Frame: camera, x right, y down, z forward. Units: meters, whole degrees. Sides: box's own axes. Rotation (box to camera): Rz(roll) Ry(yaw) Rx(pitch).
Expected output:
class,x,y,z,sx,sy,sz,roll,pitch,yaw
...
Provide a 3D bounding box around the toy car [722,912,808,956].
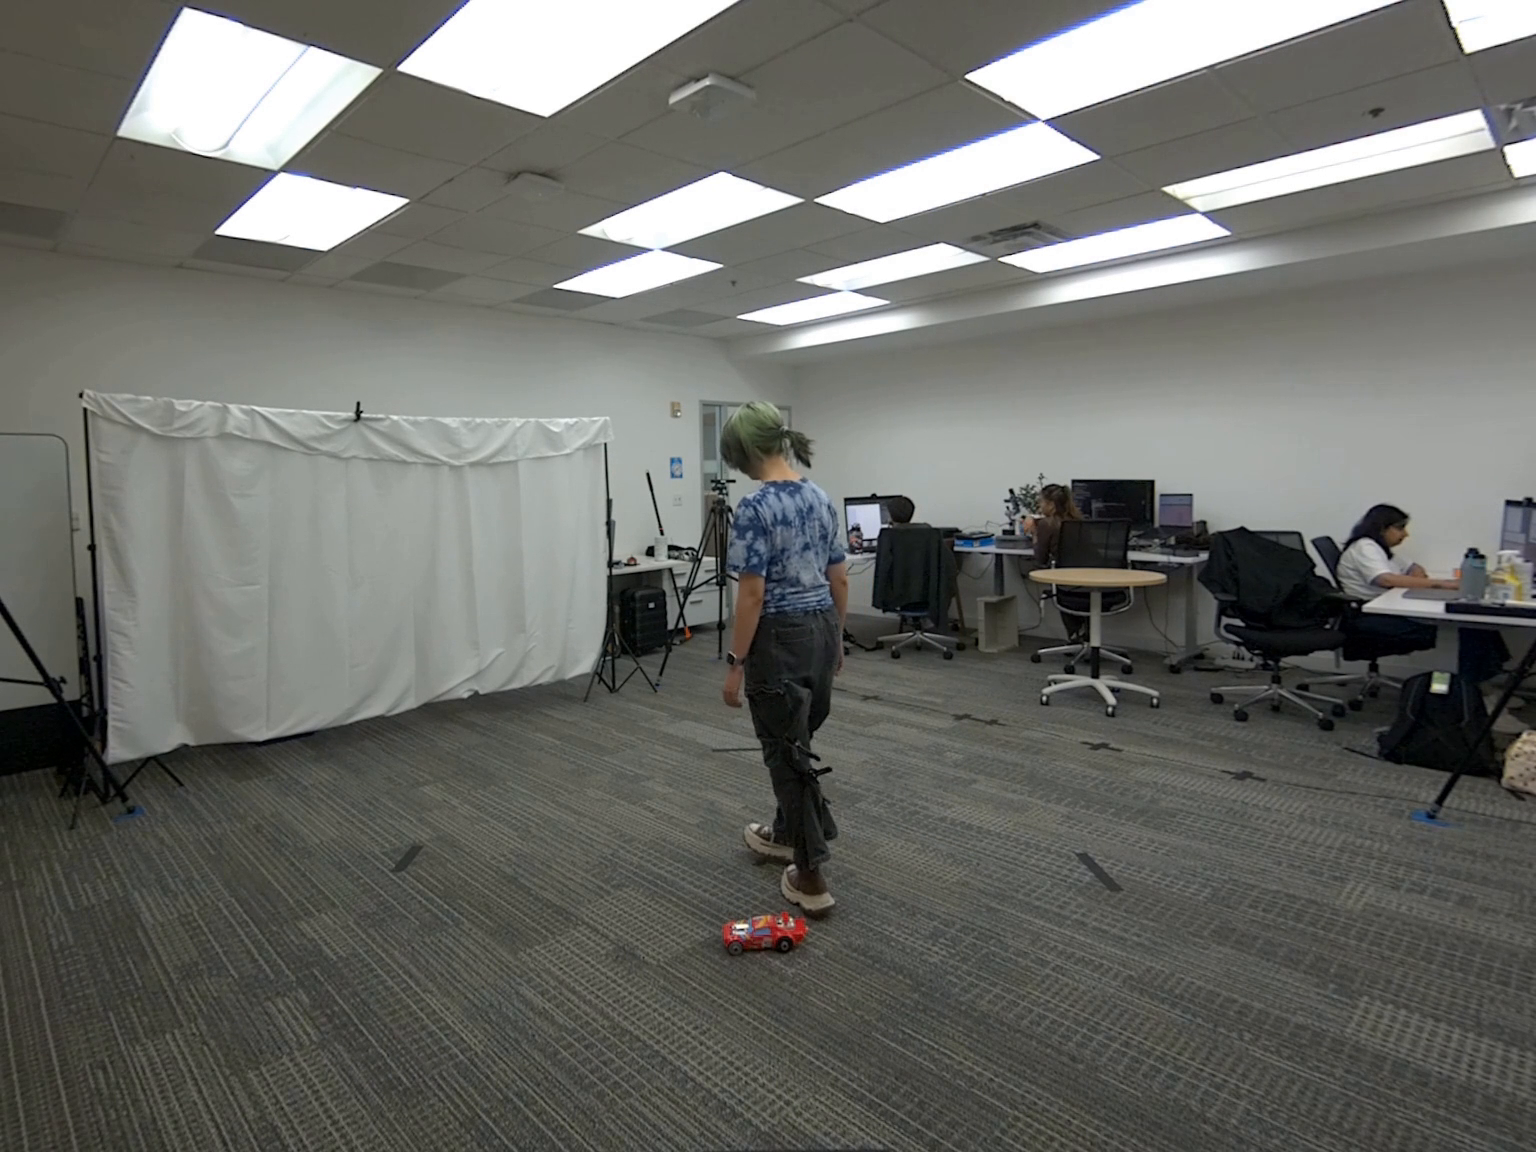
class,x,y,z,sx,sy,sz,roll,pitch,yaw
toy car,-0.002,1.081,2.563,0.254,0.083,0.131,-12,5,-2
